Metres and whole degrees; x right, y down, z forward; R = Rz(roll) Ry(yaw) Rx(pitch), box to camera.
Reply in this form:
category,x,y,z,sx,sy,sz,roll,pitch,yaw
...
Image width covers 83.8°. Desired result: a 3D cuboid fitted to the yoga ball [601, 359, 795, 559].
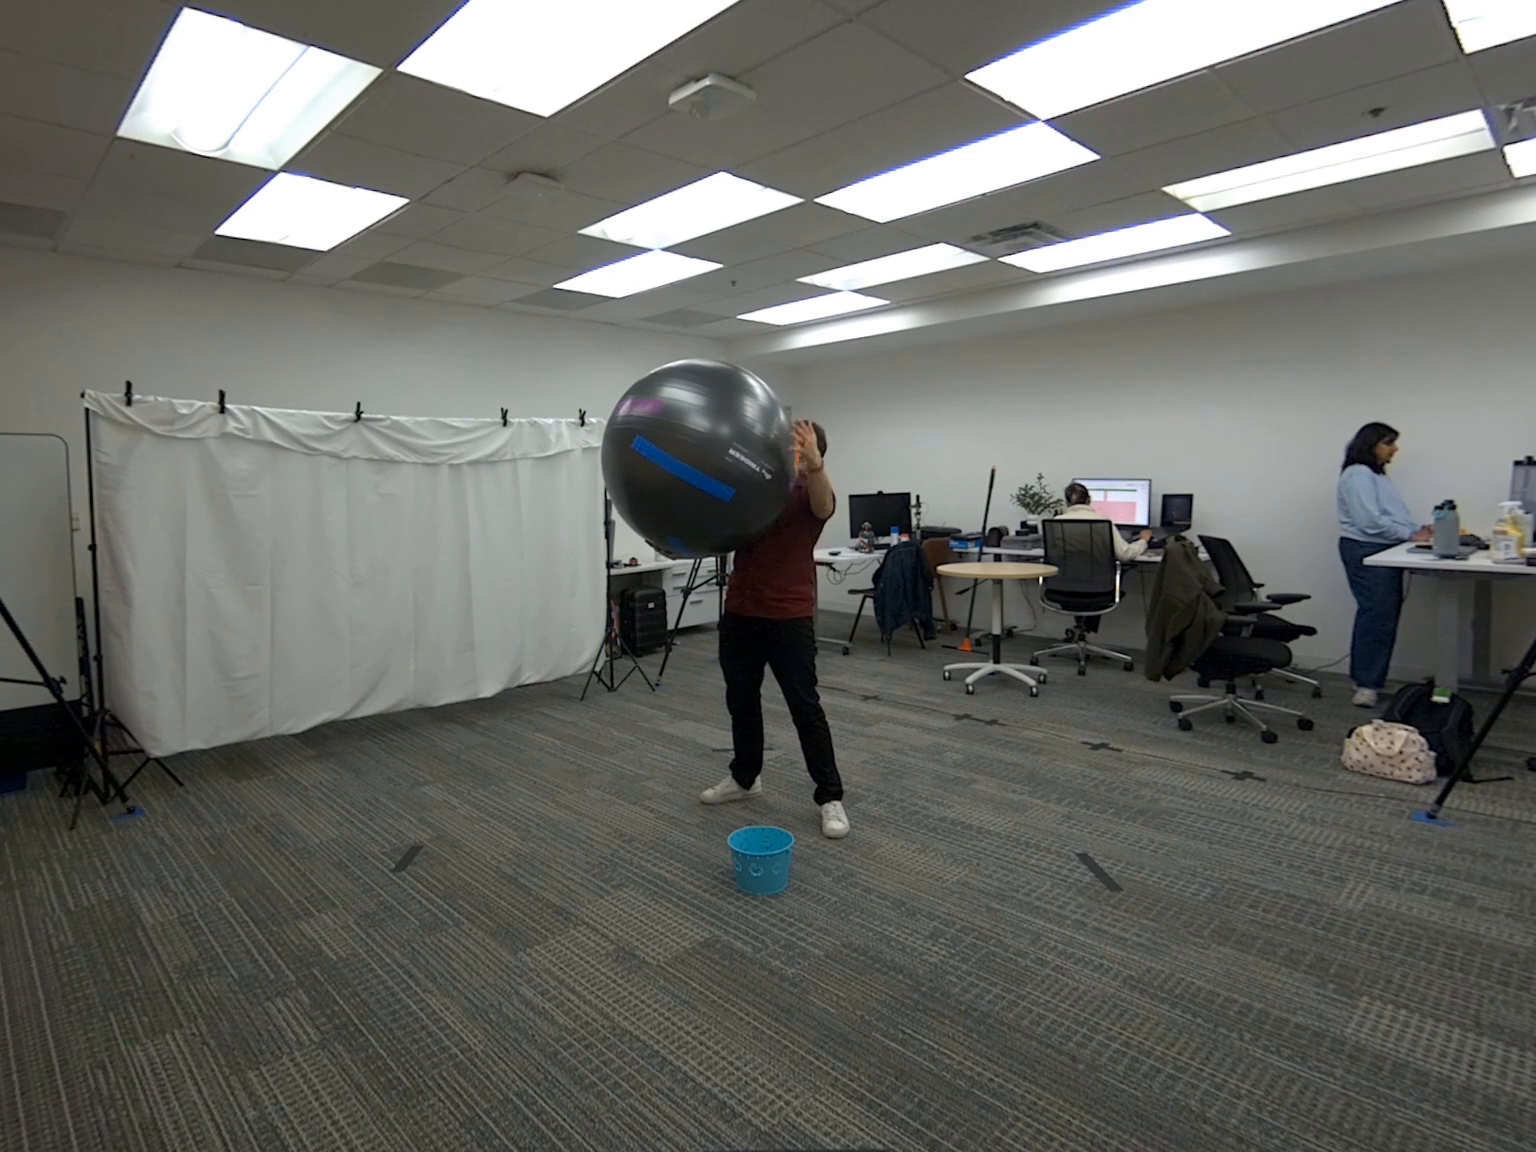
category,x,y,z,sx,sy,sz,roll,pitch,yaw
yoga ball,-0.265,-0.451,3.304,0.757,0.755,0.762,-1,5,-2
